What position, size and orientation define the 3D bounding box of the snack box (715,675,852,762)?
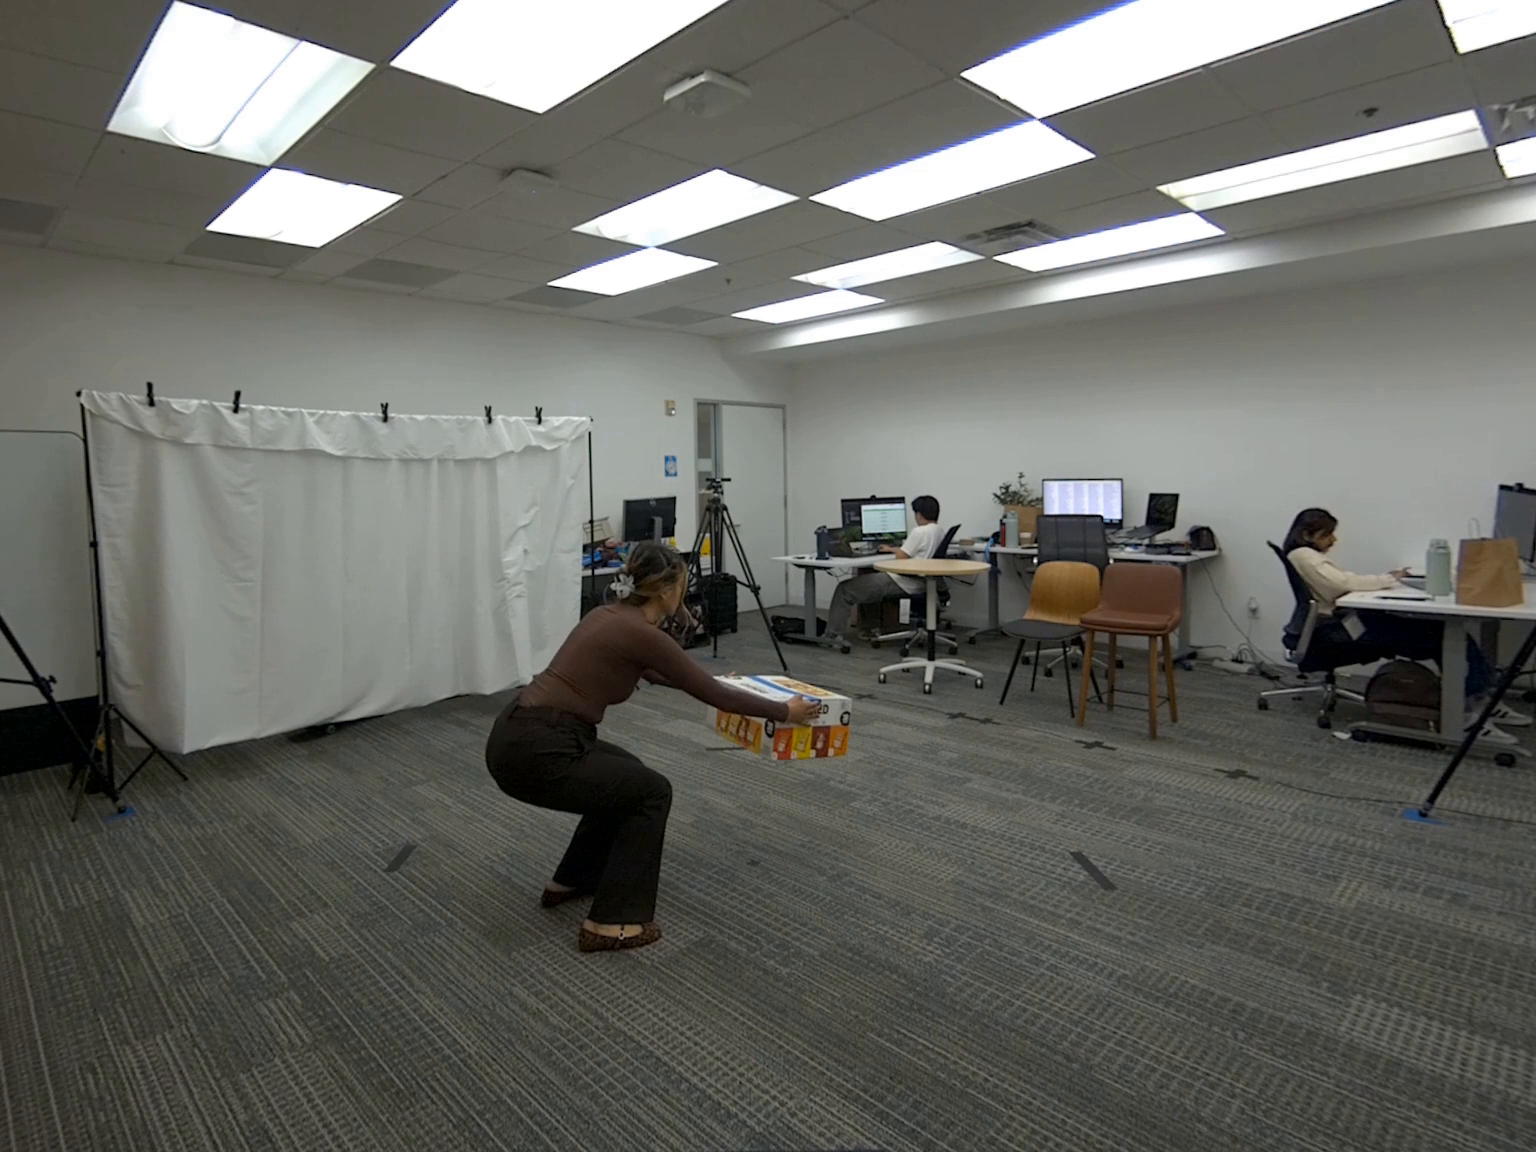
[{"bbox_3d":[0.036,0.504,3.105,0.330,0.205,0.418,4,3,-36],"label":"snack box"}]
